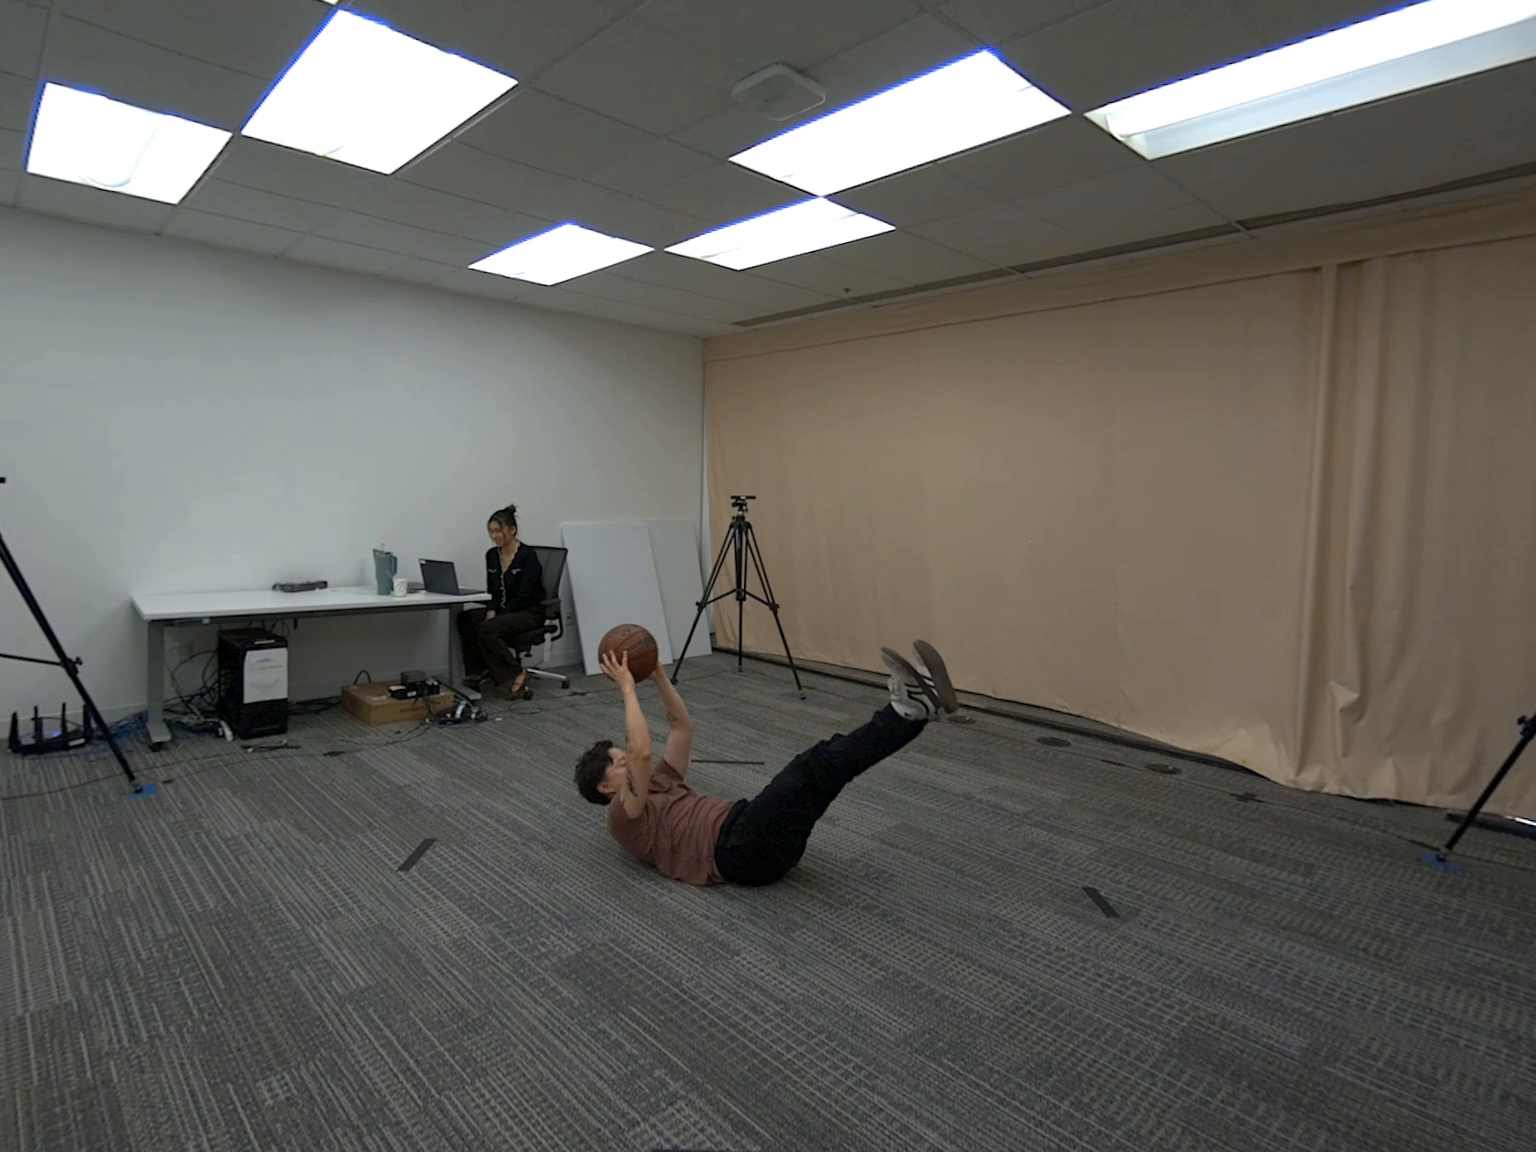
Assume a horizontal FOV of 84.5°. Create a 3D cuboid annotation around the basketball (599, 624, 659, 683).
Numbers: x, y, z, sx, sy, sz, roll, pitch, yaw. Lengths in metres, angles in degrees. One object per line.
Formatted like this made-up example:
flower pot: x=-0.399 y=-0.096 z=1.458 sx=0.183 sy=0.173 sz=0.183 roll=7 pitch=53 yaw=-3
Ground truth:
basketball: x=-0.559 y=0.315 z=3.286 sx=0.236 sy=0.234 sz=0.237 roll=0 pitch=8 yaw=-1
